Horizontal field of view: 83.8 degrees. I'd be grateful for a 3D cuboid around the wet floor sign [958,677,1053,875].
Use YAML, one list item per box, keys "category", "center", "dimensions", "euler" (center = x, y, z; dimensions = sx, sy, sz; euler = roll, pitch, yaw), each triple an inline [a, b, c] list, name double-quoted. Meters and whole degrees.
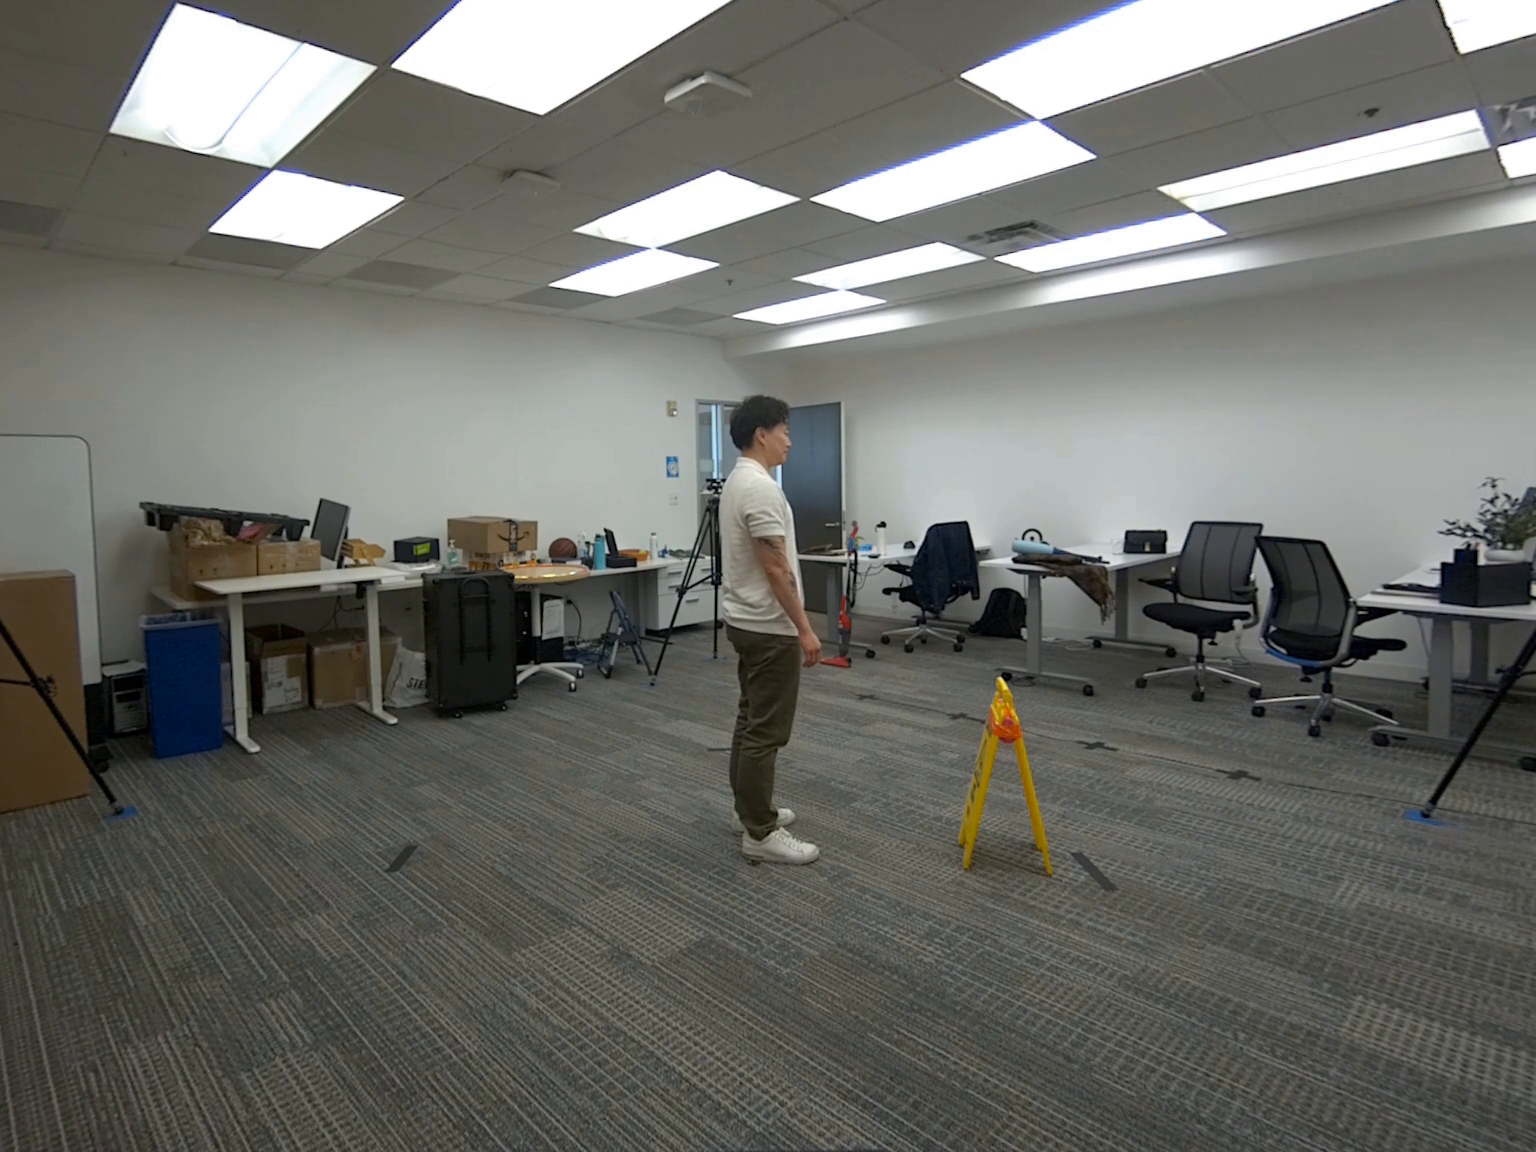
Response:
- category: "wet floor sign"
  center: [0.855, 0.702, 3.107]
  dimensions: [0.293, 0.645, 0.280]
  euler: [0, 2, 10]
